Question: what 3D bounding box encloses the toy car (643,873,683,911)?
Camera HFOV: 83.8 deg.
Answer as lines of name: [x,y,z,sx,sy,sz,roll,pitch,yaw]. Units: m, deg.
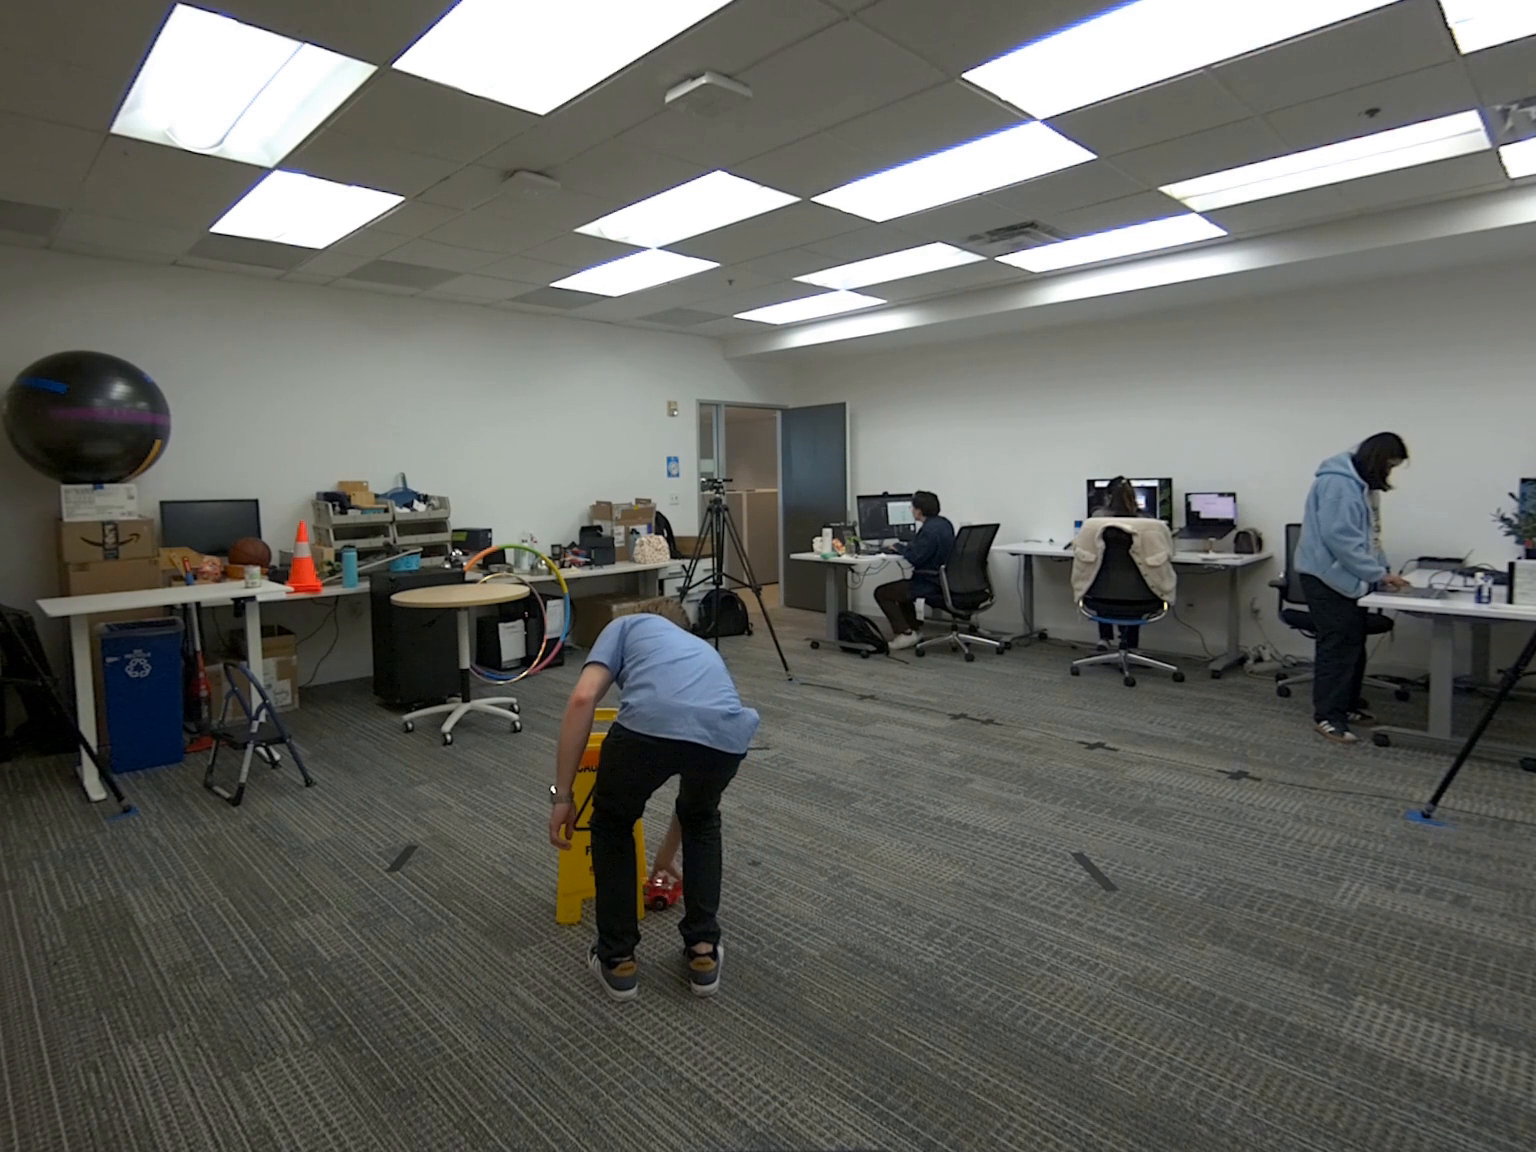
toy car: [-0.393,1.062,2.831,0.255,0.083,0.131,-10,7,2]
